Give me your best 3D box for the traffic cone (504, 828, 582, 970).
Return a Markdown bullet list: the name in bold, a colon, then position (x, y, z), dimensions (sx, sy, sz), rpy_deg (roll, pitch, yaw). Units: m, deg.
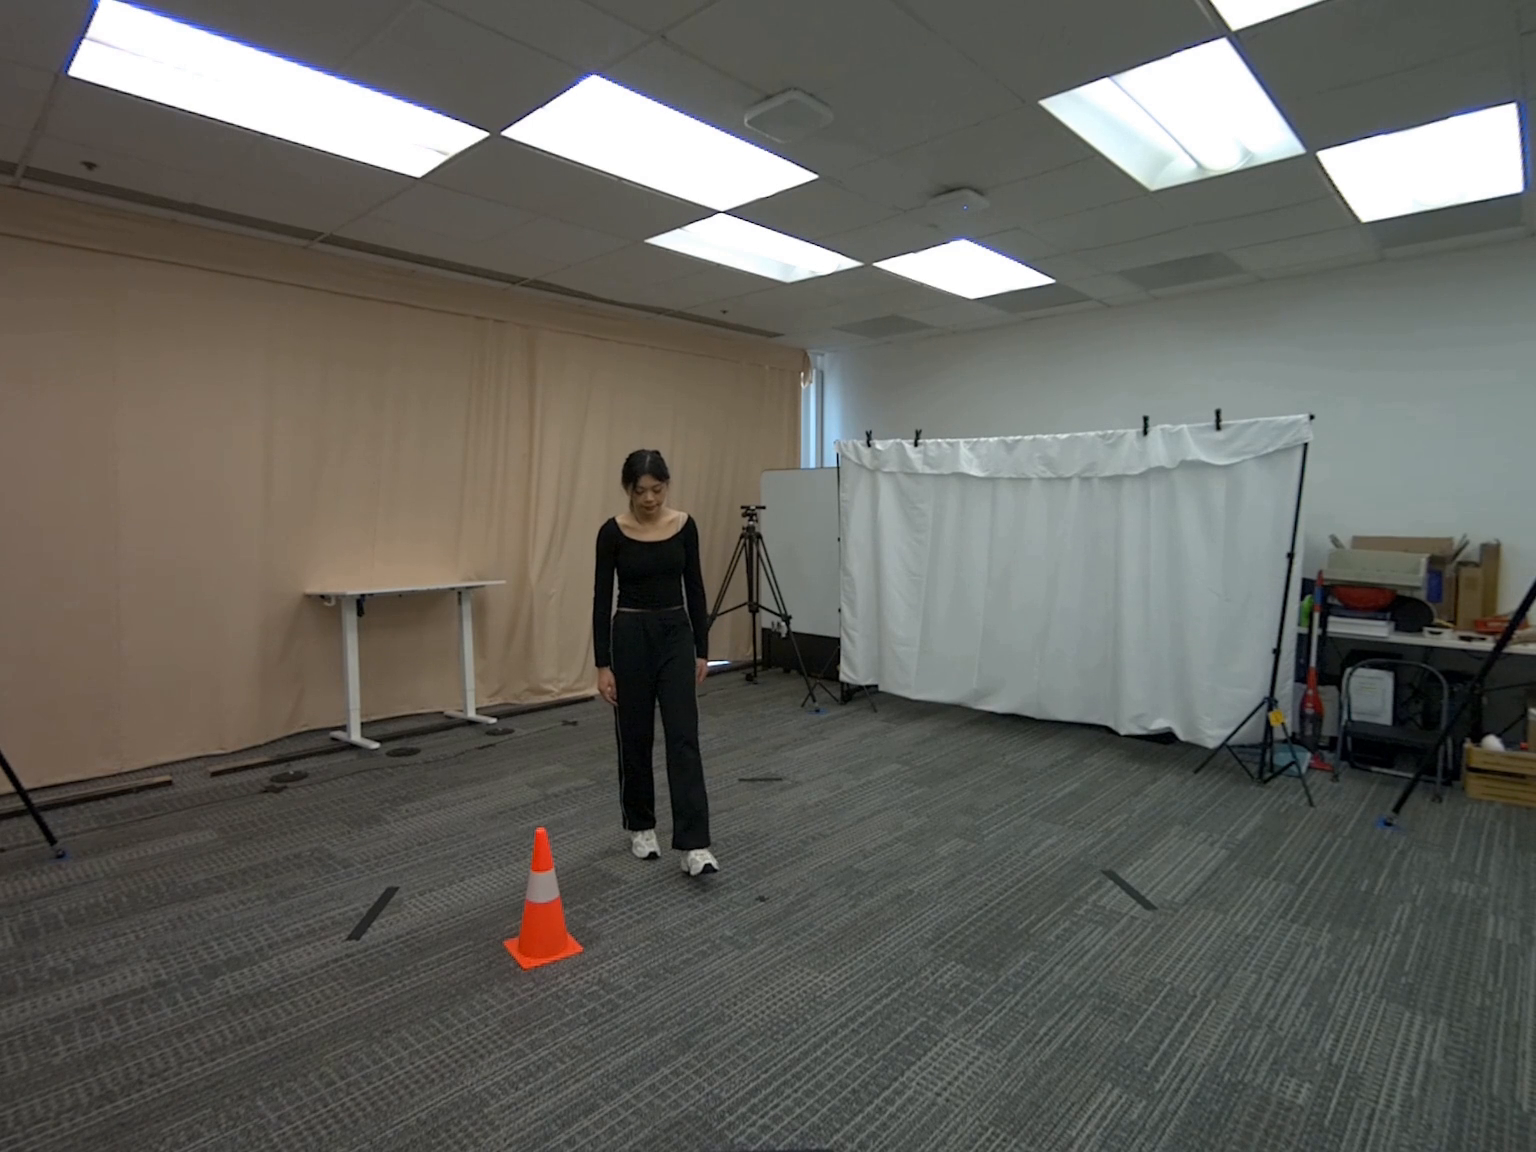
- **traffic cone**: position (-0.720, 0.989, 2.660), dimensions (0.199, 0.383, 0.209), rpy_deg (-4, 4, -33)
